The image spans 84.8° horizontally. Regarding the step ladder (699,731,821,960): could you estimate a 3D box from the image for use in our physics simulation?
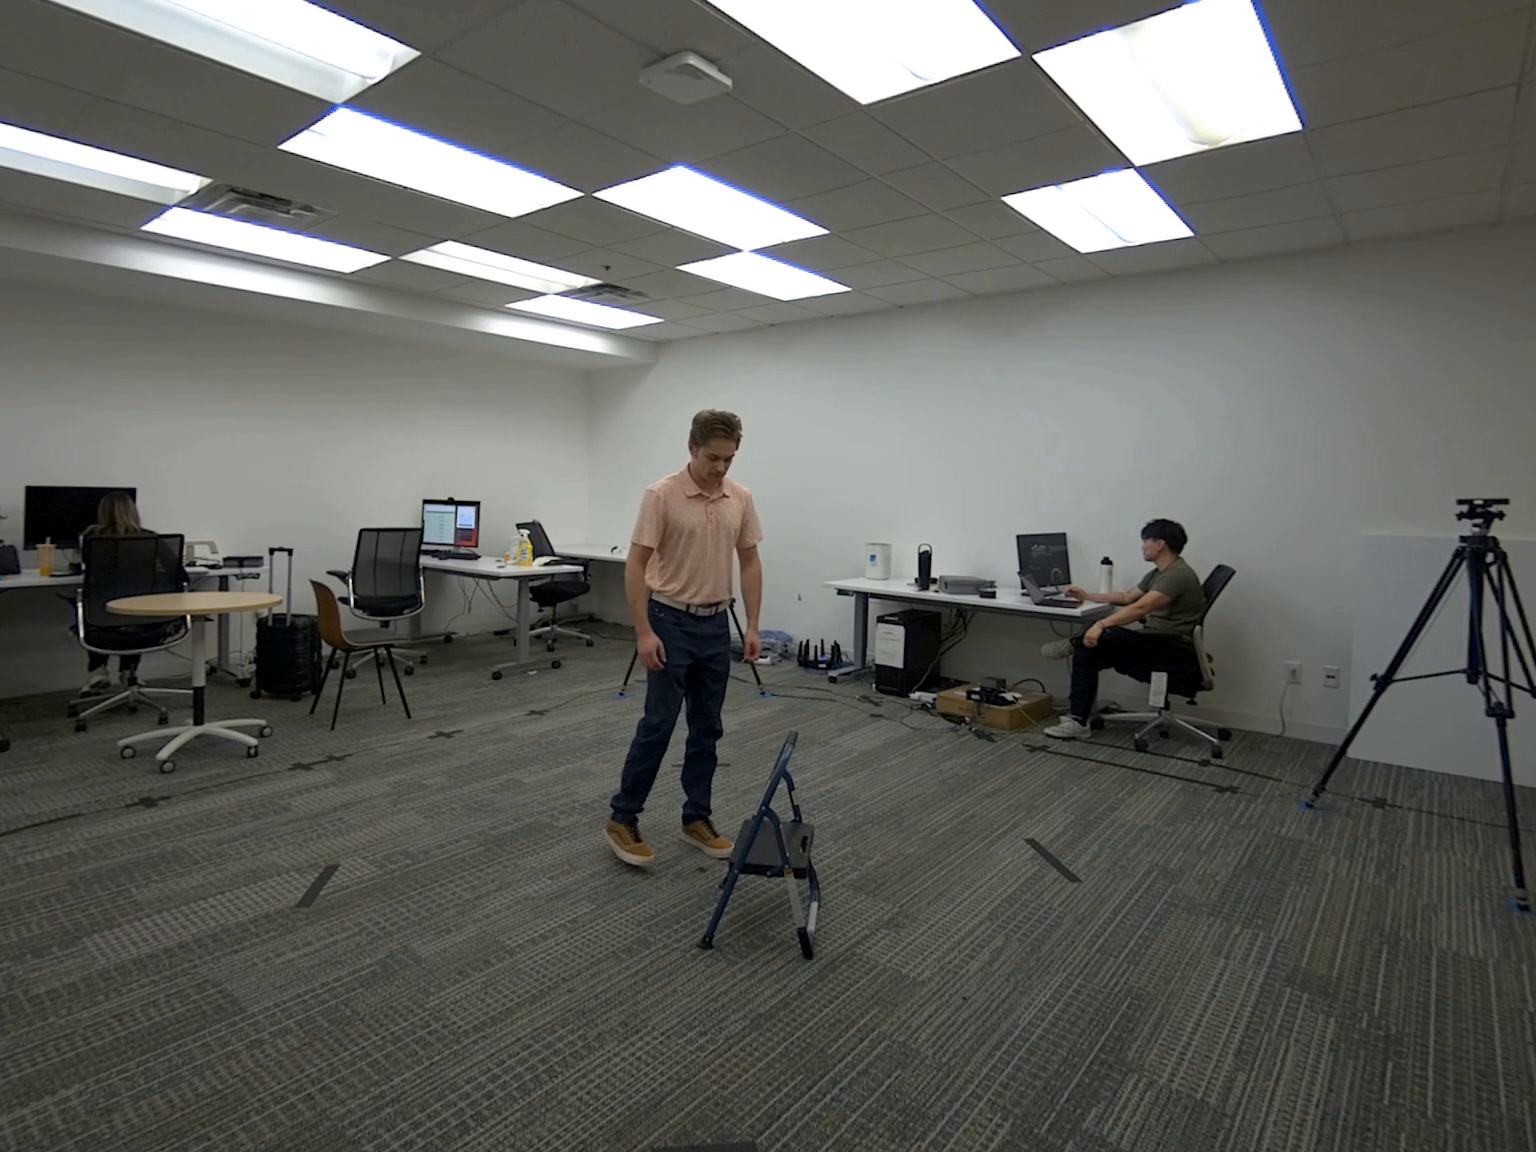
[{"bbox_3d":[-0.012,0.807,2.732,0.353,0.604,0.428,2,3,7],"label":"step ladder"}]
